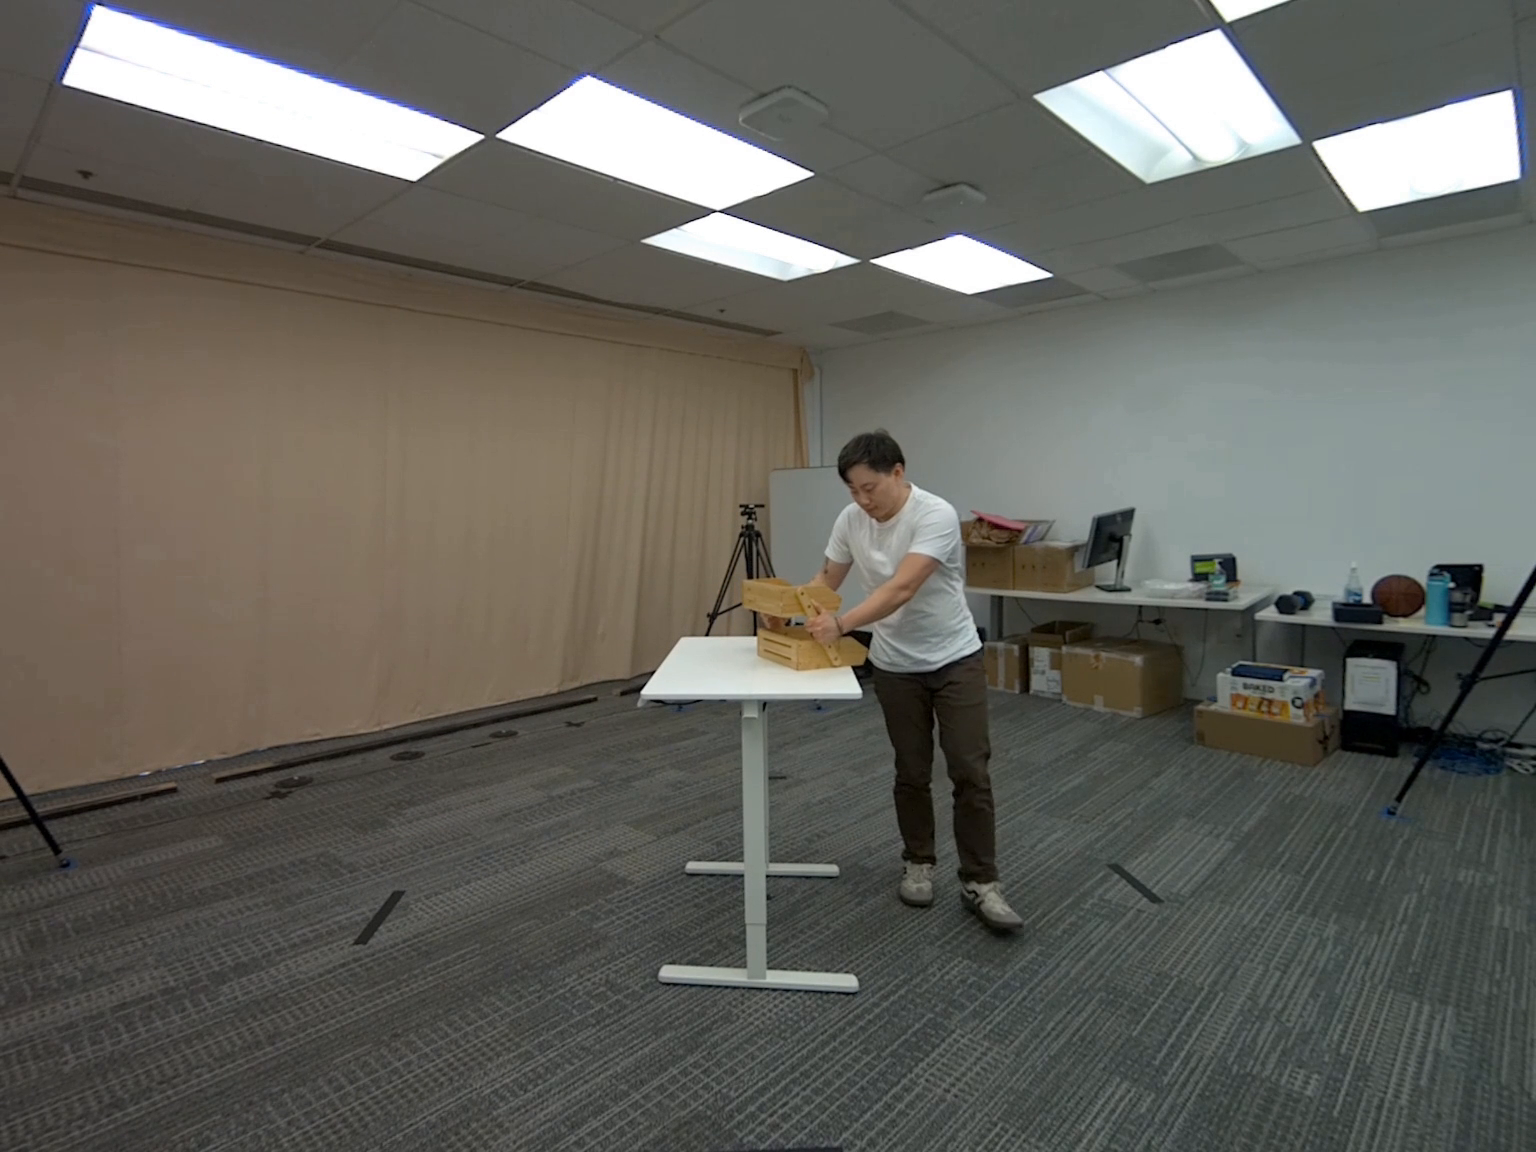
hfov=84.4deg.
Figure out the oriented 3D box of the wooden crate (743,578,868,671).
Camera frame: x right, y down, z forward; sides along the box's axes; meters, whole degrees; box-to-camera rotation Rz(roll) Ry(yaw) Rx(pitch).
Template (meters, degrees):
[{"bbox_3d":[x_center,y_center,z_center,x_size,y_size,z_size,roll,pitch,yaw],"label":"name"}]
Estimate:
[{"bbox_3d":[0.117,0.146,2.737,0.295,0.272,0.332,-4,5,-23],"label":"wooden crate"}]
